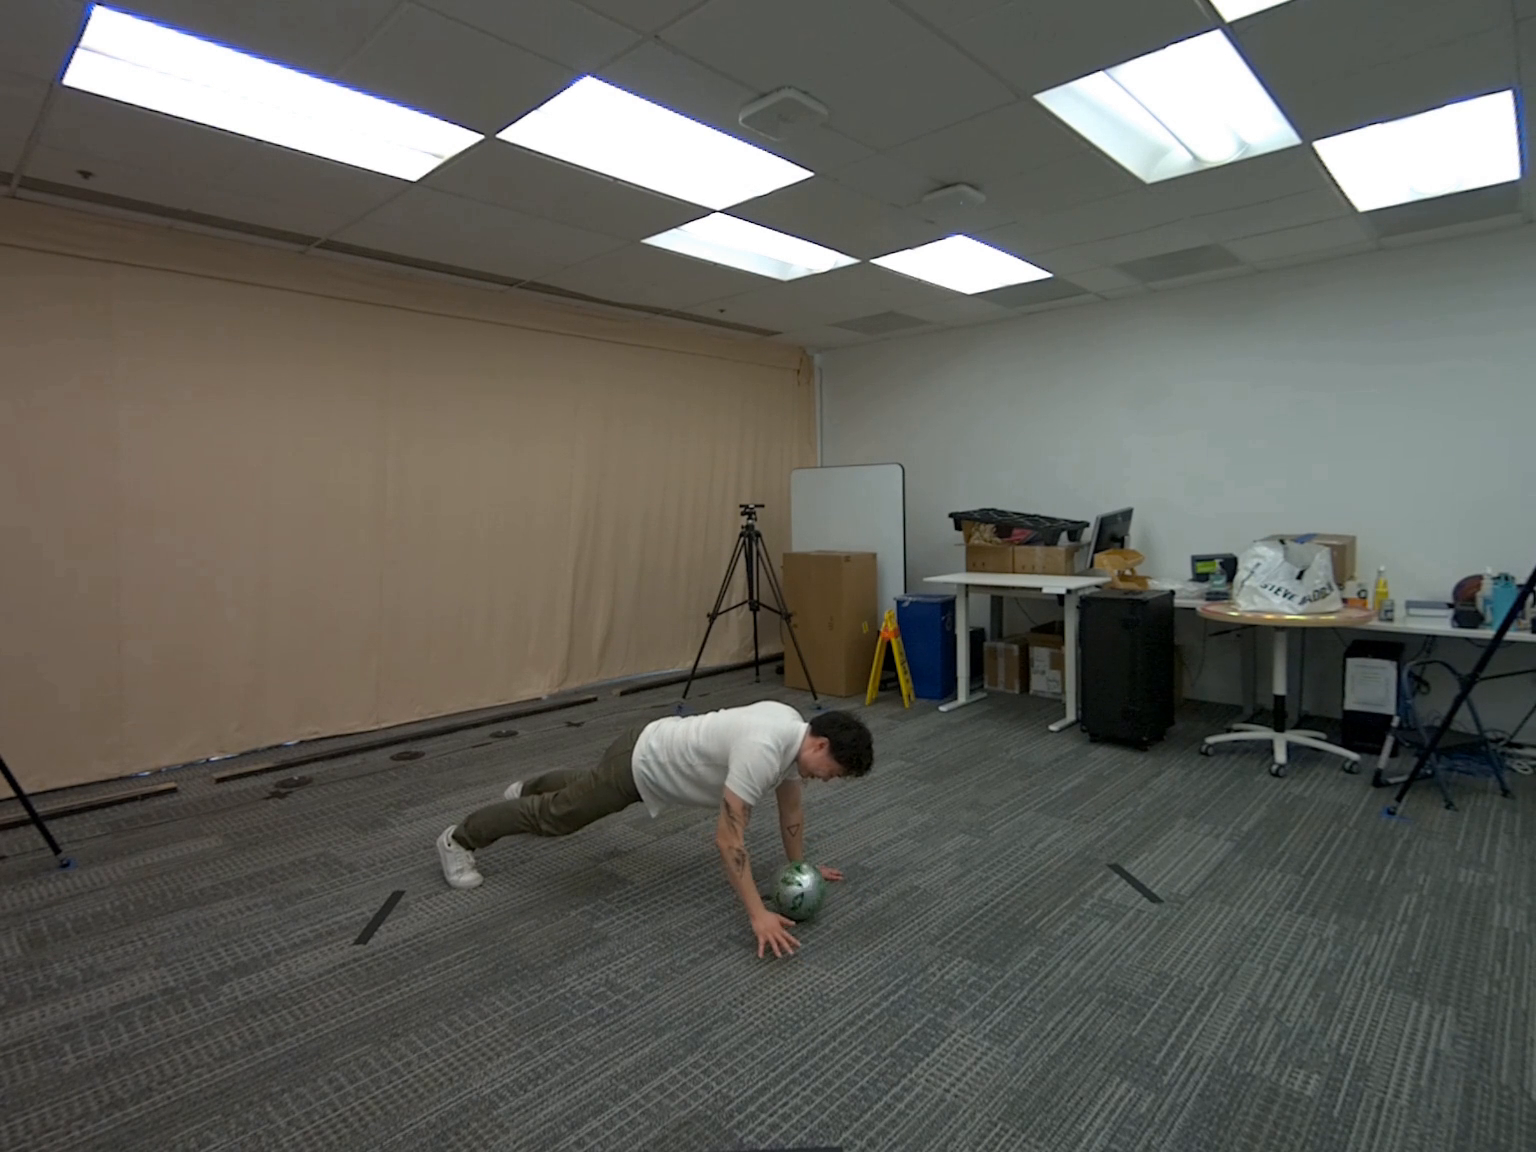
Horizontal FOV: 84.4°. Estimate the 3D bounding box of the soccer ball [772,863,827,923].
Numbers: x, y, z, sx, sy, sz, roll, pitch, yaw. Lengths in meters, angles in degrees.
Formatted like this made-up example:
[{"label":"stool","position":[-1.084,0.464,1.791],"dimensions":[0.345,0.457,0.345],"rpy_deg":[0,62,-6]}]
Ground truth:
[{"label":"soccer ball","position":[0.099,1.055,2.830],"dimensions":[0.187,0.187,0.188],"rpy_deg":[-1,4,-2]}]
